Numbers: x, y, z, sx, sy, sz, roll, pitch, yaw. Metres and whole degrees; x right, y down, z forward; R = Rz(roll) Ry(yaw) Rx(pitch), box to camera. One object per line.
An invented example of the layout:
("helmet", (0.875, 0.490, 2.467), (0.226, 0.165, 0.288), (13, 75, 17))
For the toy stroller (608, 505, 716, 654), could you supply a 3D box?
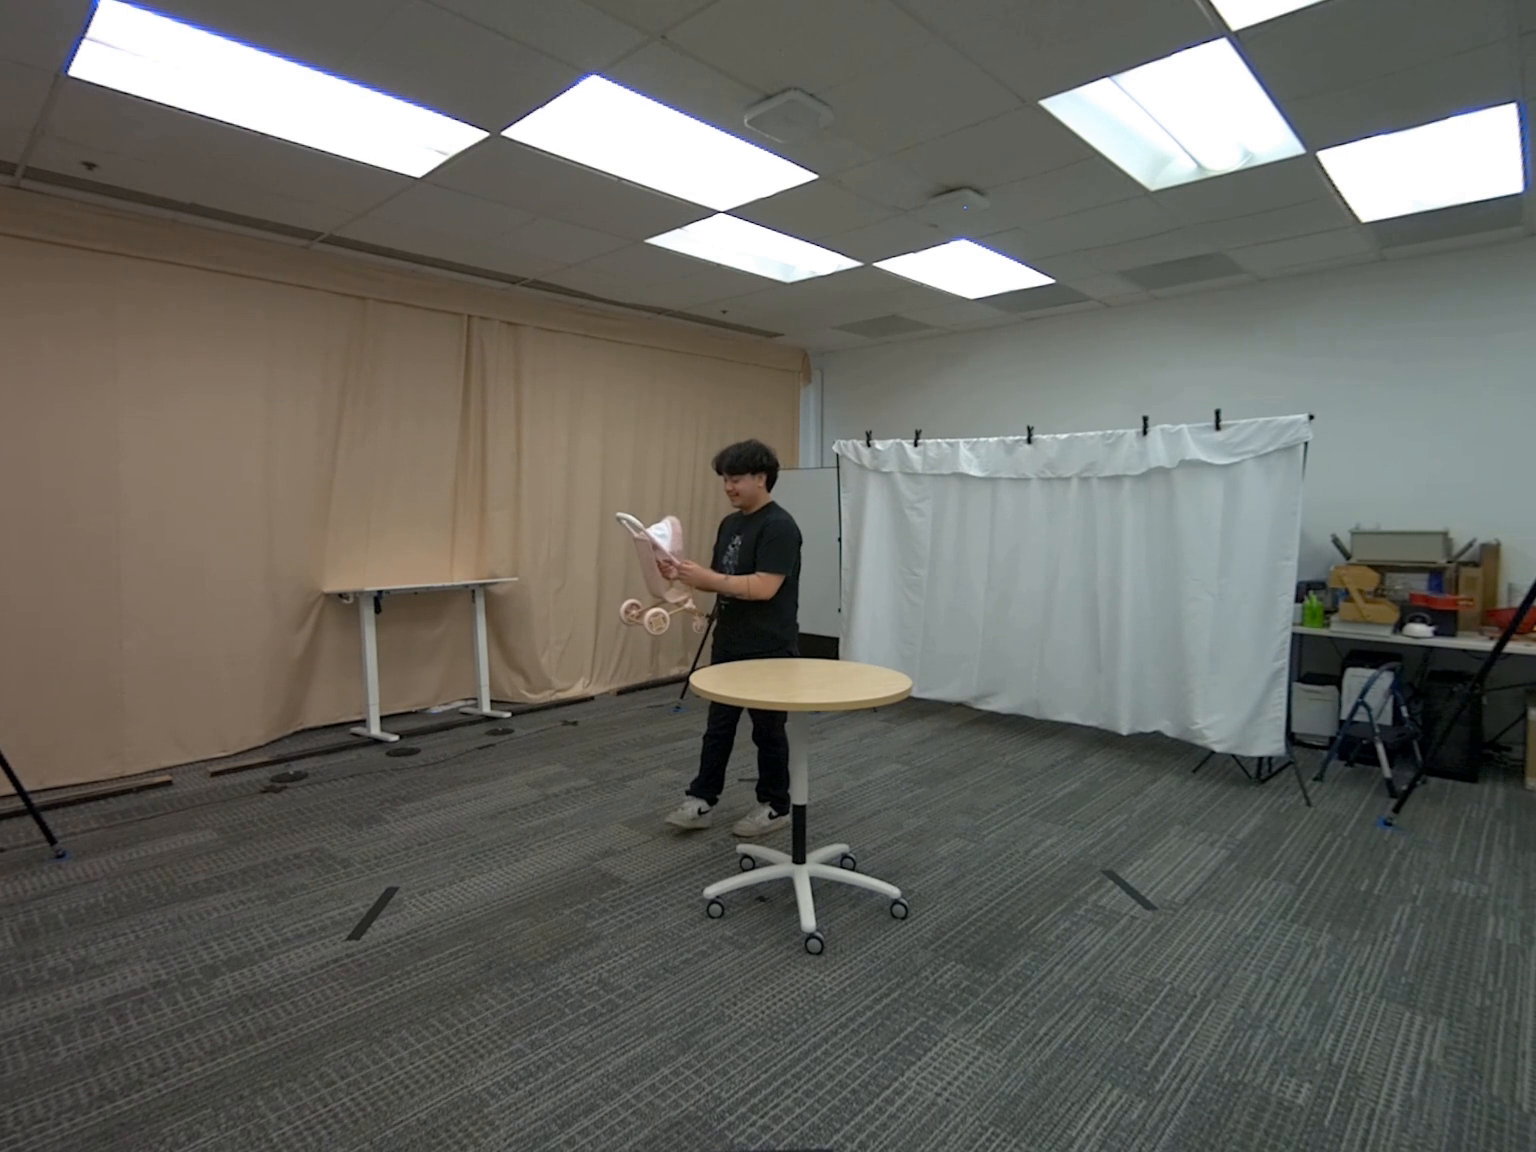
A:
("toy stroller", (-0.417, -0.003, 3.410), (0.334, 0.533, 0.289), (-7, 6, -25))
